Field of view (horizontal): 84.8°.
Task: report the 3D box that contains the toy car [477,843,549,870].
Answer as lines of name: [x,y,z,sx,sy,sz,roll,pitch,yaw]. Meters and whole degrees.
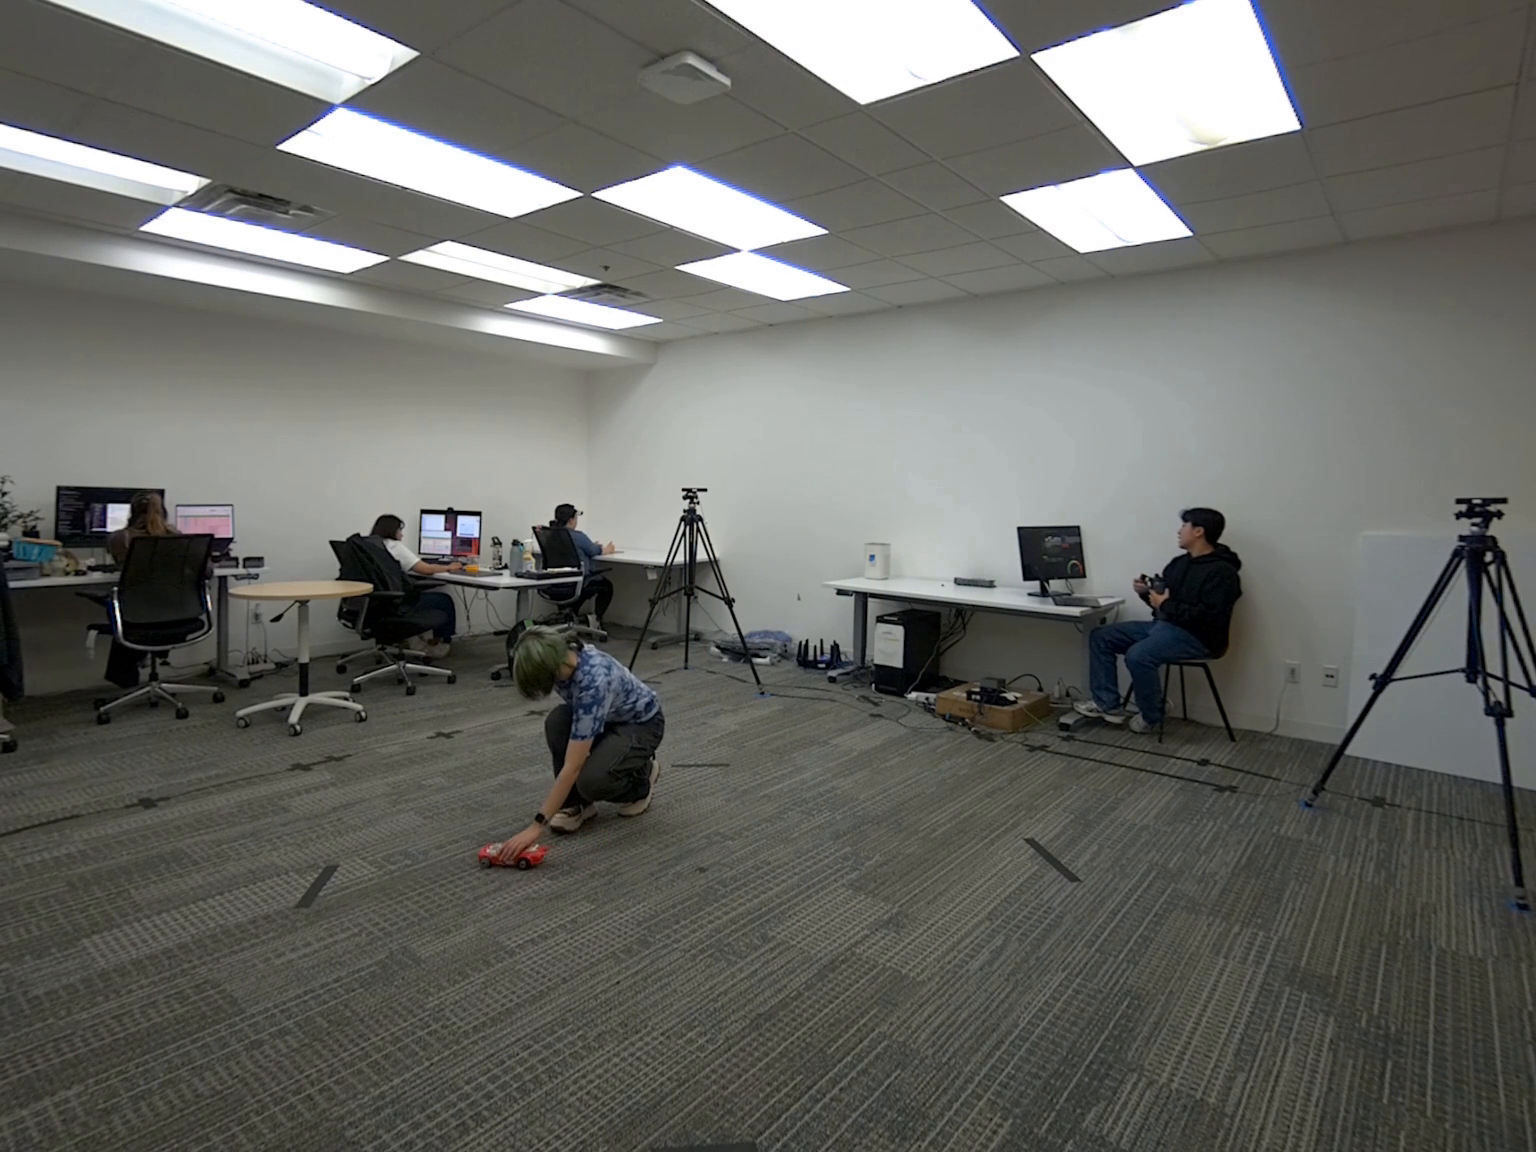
toy car: [-0.944,1.026,3.134,0.256,0.083,0.130,-9,5,5]
